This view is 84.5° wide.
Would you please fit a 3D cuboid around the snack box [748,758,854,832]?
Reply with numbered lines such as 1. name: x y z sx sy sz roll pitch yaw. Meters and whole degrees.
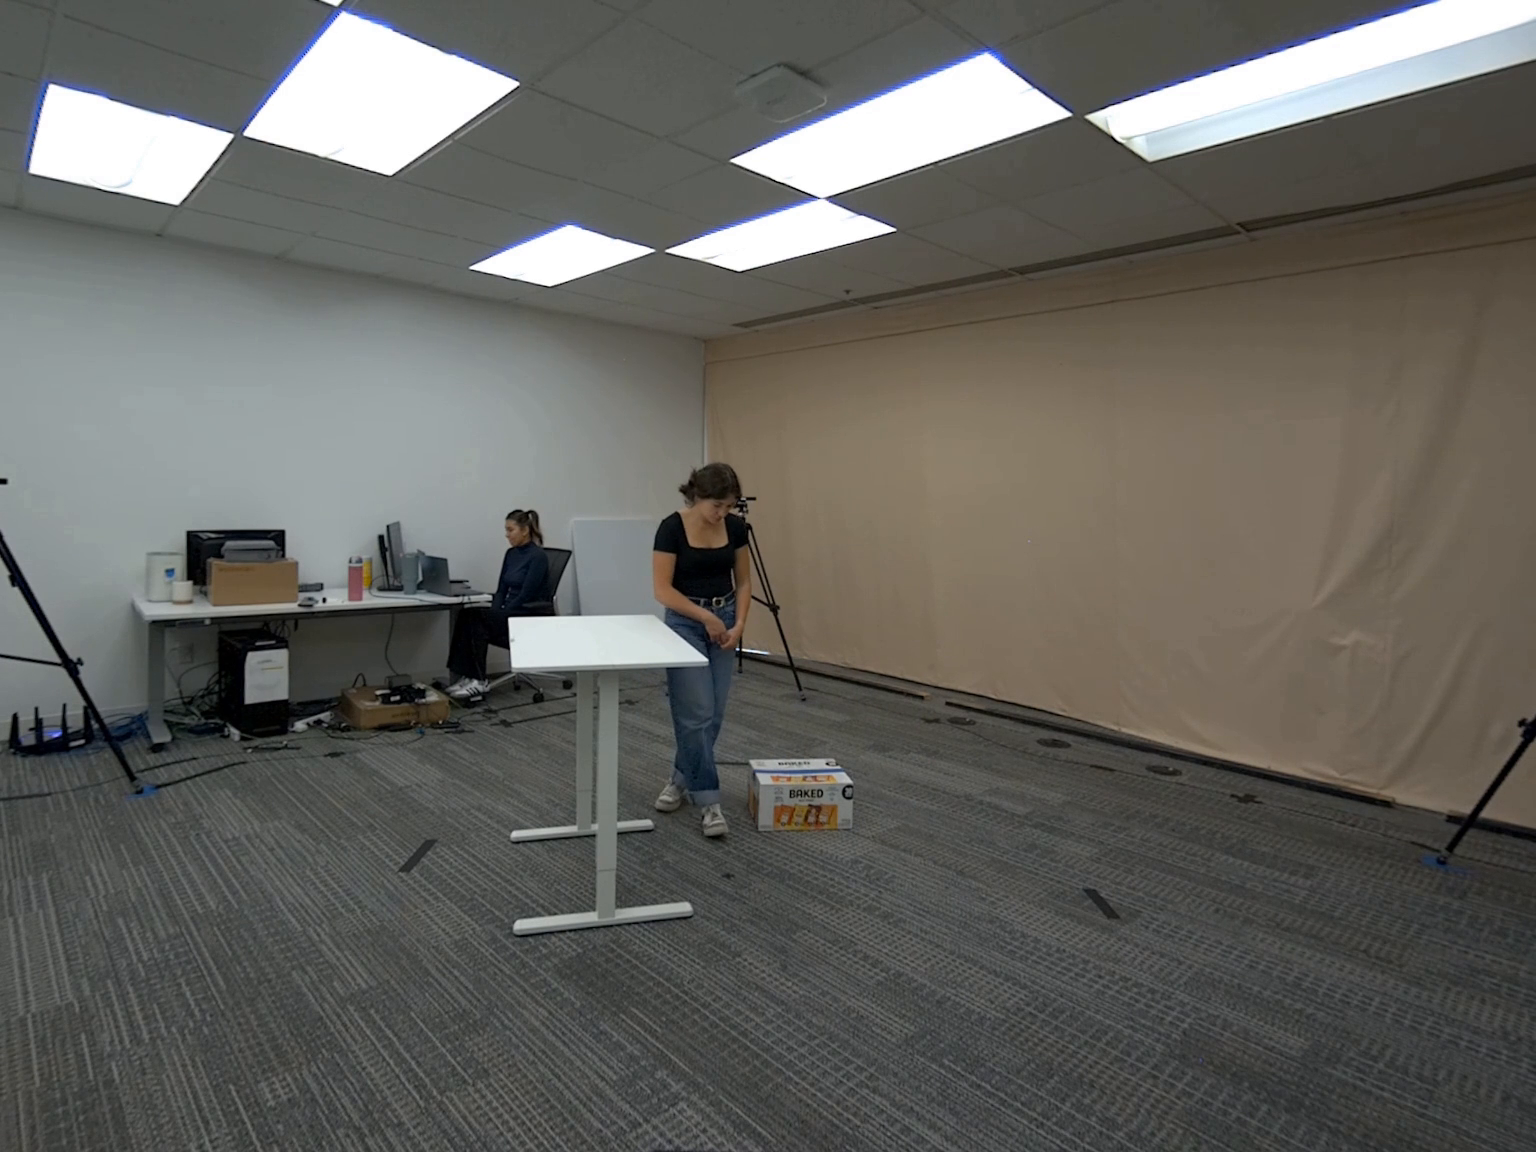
1. snack box: 0.122 0.959 3.720 0.402 0.205 0.343 1 4 -9
